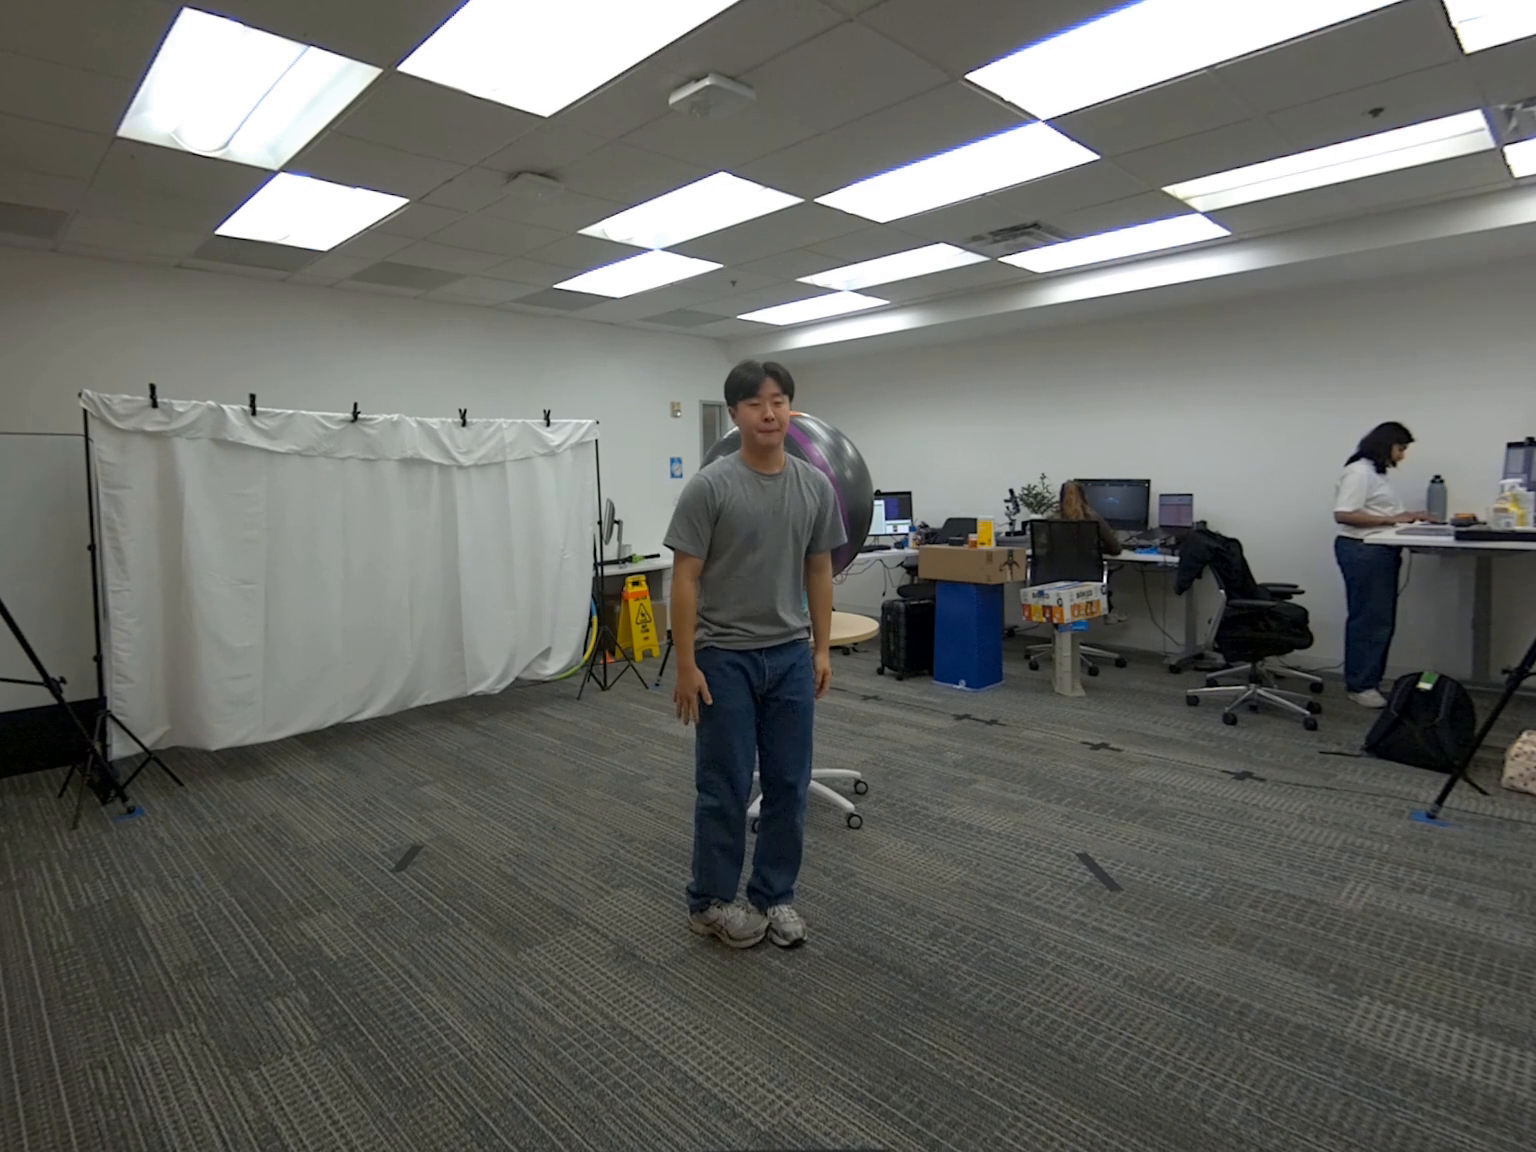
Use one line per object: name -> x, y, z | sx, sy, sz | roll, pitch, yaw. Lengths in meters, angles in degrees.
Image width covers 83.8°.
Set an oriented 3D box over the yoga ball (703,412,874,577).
yoga ball -> 0.064, -0.305, 3.597 | 0.757, 0.755, 0.762 | -1, 5, -2
